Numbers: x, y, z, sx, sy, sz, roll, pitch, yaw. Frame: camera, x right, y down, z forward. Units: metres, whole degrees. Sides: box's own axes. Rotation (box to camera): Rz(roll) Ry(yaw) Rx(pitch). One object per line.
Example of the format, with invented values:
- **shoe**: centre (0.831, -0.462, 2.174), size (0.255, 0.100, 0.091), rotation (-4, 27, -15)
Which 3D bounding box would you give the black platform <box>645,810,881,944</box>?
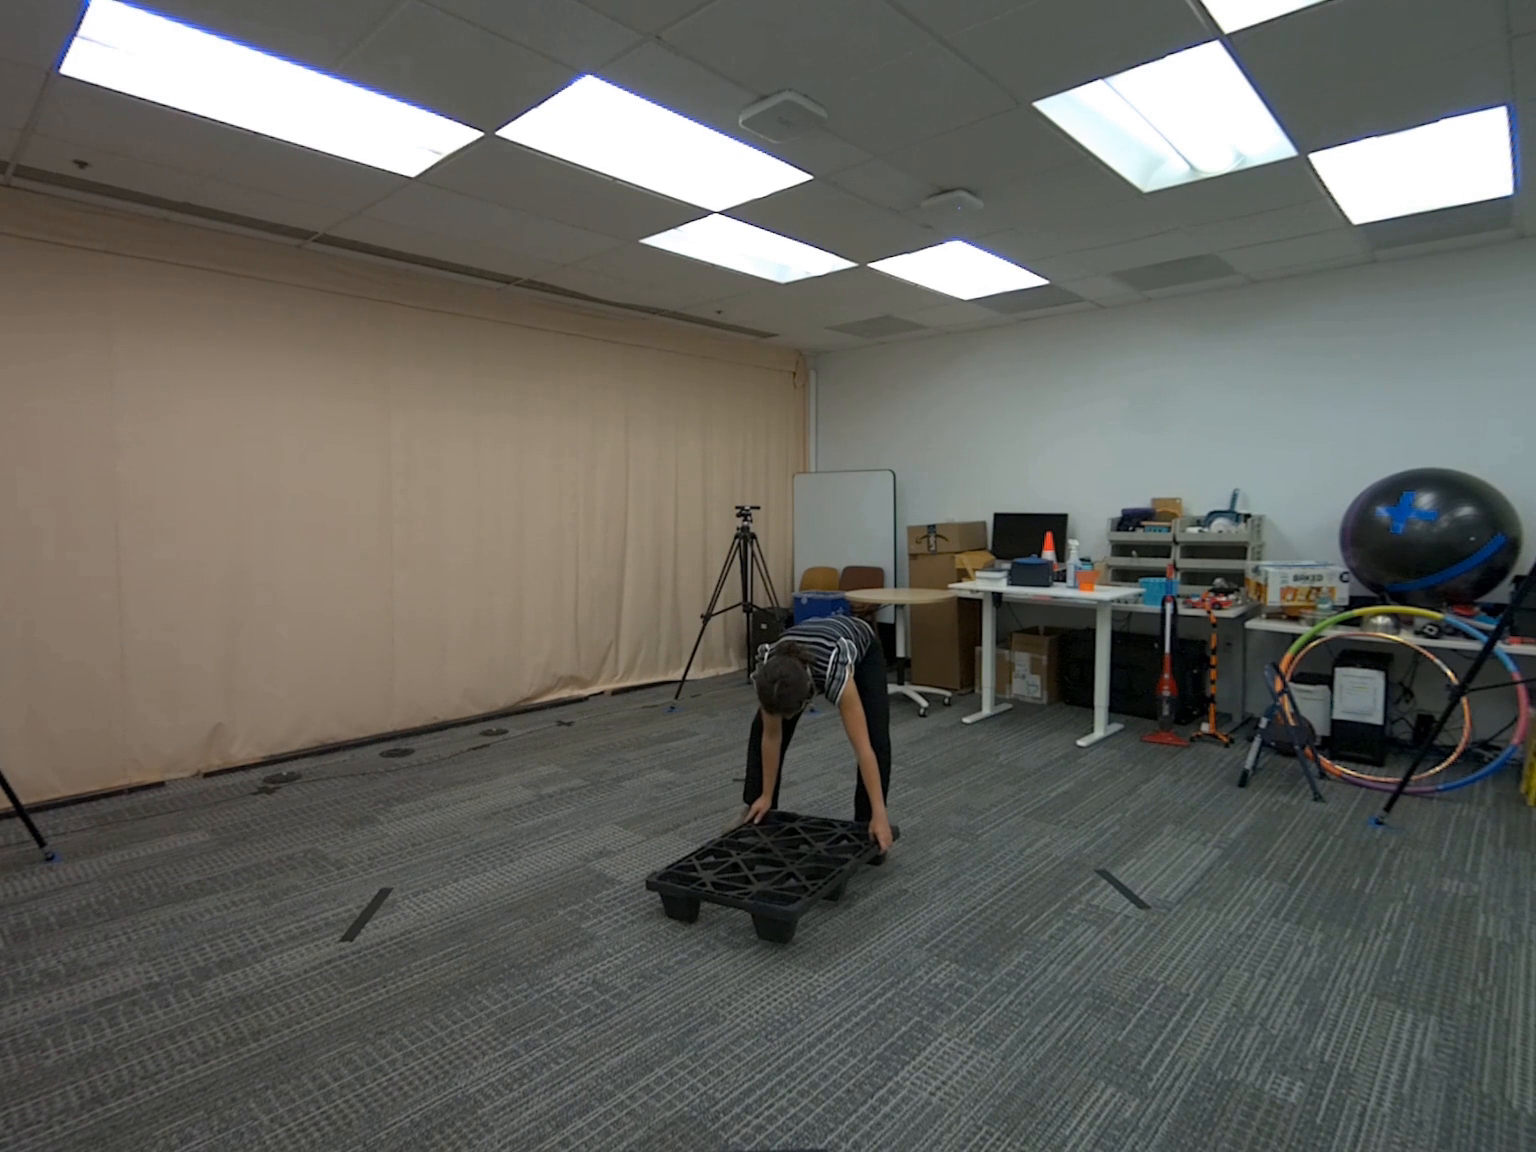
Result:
- **black platform**: centre (0.049, 1.052, 3.012), size (0.623, 0.143, 0.783), rotation (-2, 3, 34)
